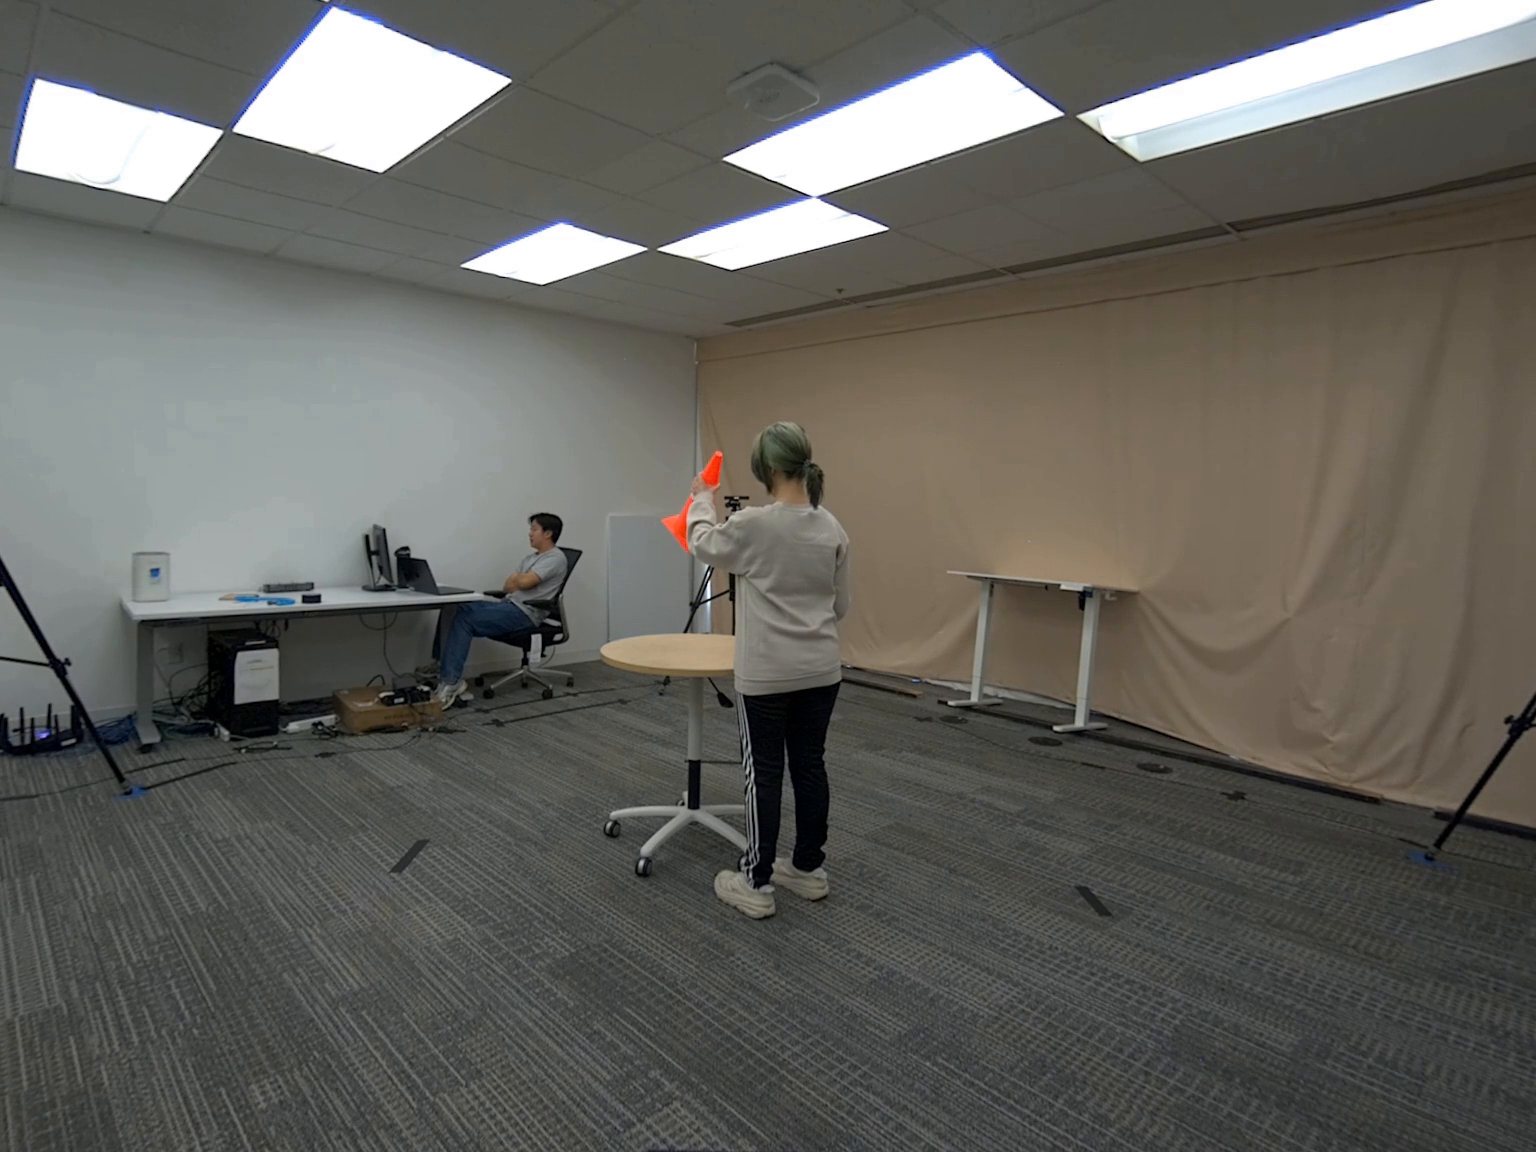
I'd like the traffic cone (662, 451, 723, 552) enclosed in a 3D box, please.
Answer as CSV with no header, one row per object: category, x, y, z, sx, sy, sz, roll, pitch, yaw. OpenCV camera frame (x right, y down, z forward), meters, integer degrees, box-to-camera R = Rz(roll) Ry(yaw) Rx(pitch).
traffic cone,-0.243,-0.310,3.239,0.202,0.379,0.209,-16,52,-38
